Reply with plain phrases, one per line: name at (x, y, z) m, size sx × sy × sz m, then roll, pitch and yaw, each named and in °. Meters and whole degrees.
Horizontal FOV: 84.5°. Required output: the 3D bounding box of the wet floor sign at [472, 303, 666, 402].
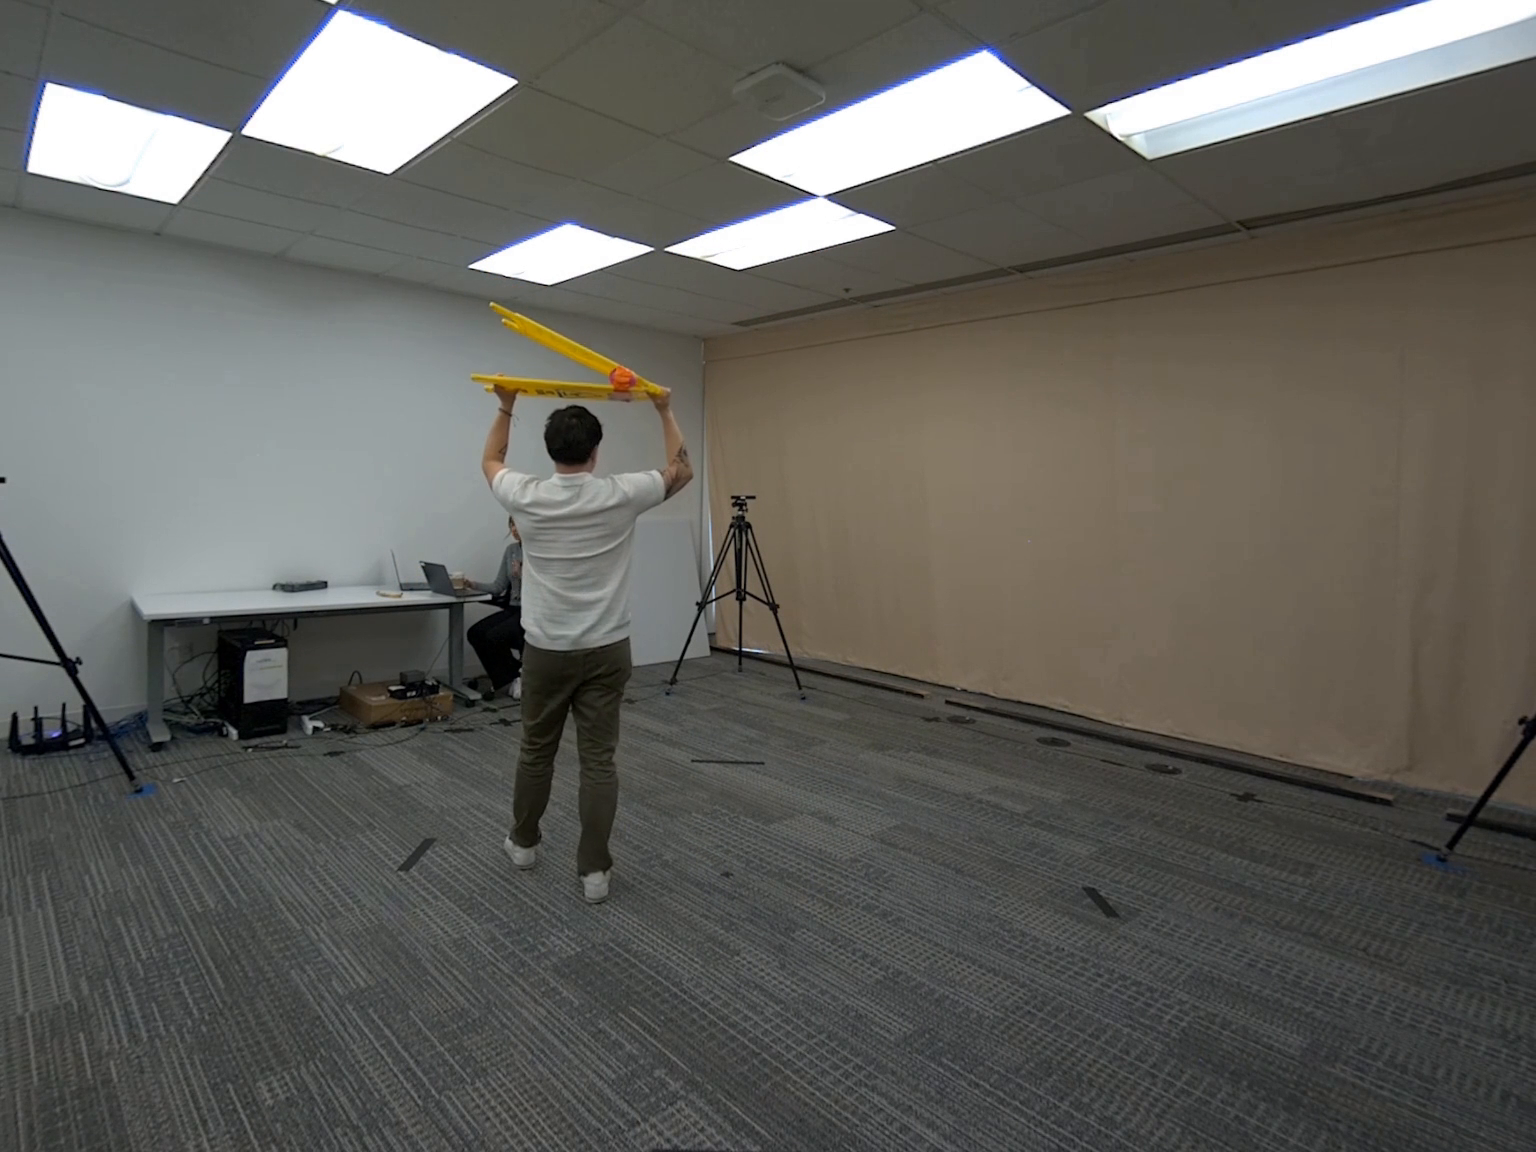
wet floor sign at (-0.713, -0.743, 3.056) m, size 0.644 × 0.290 × 0.283 m, roll 14°, pitch -1°, yaw -3°
